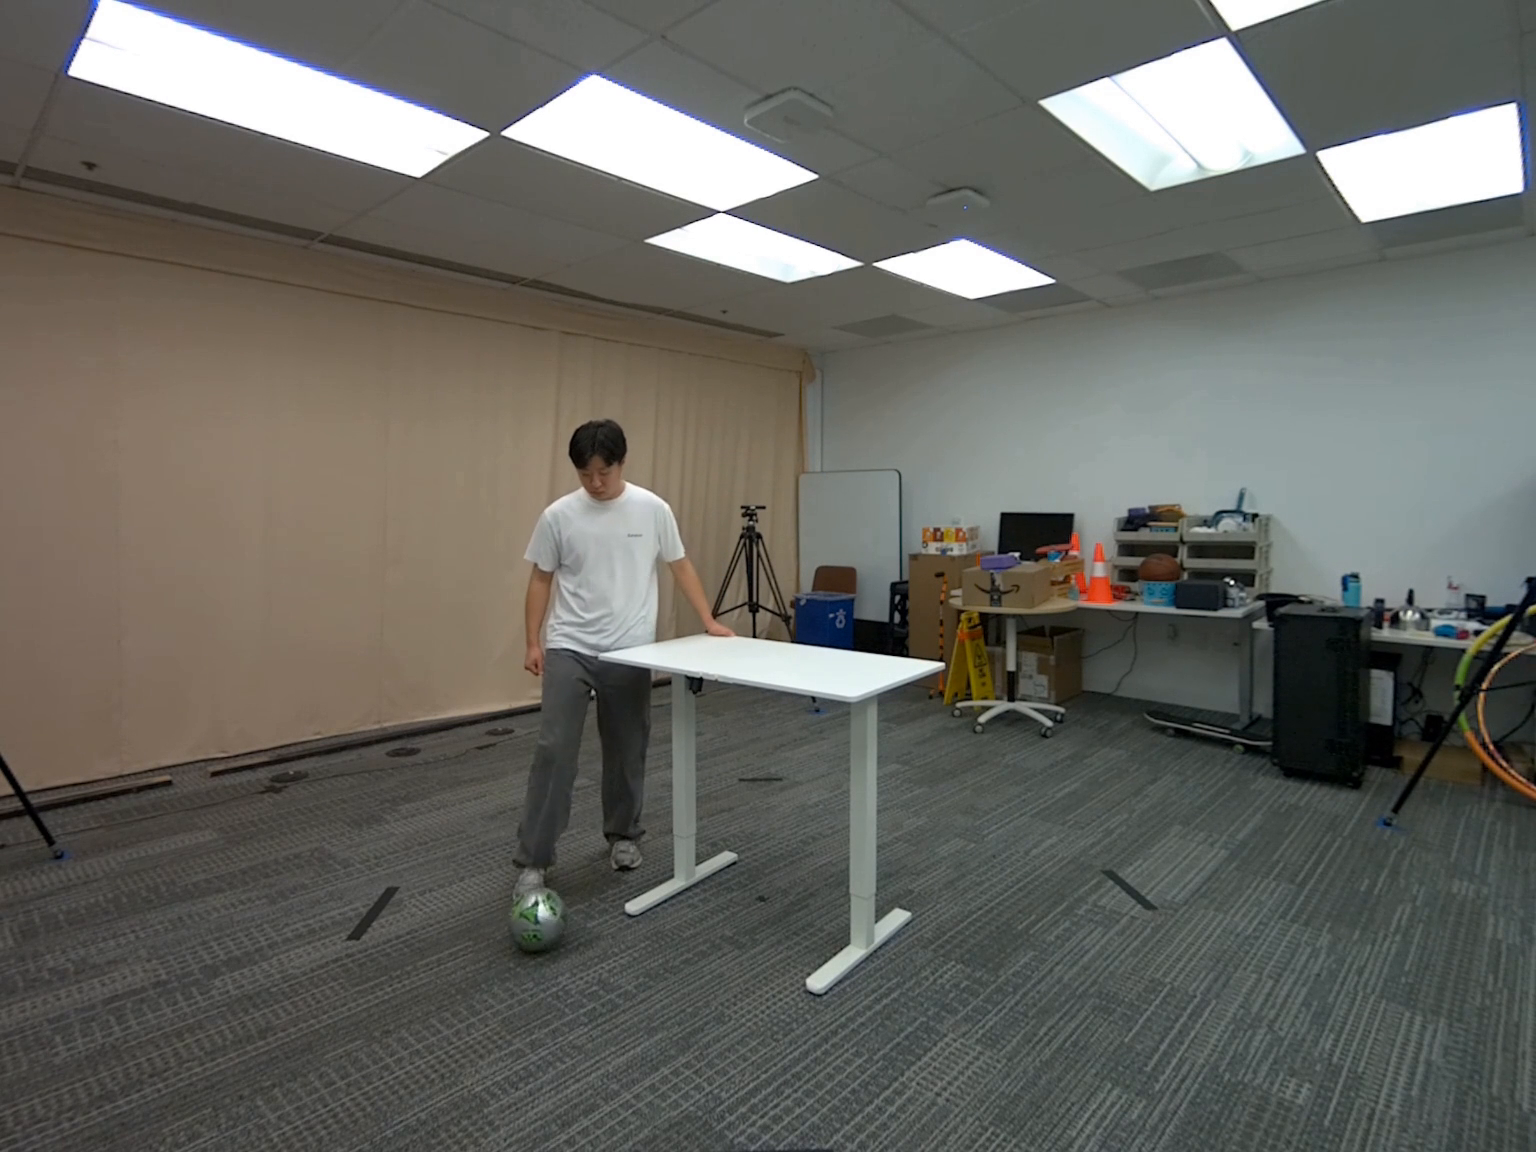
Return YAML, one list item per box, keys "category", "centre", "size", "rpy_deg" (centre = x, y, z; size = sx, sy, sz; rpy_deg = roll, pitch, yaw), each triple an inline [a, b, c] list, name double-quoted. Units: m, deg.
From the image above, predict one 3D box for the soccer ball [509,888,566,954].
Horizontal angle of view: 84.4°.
- category: "soccer ball"
  centre: [-0.726, 1.073, 2.660]
  size: [0.187, 0.187, 0.188]
  rpy_deg: [0, 4, -2]
